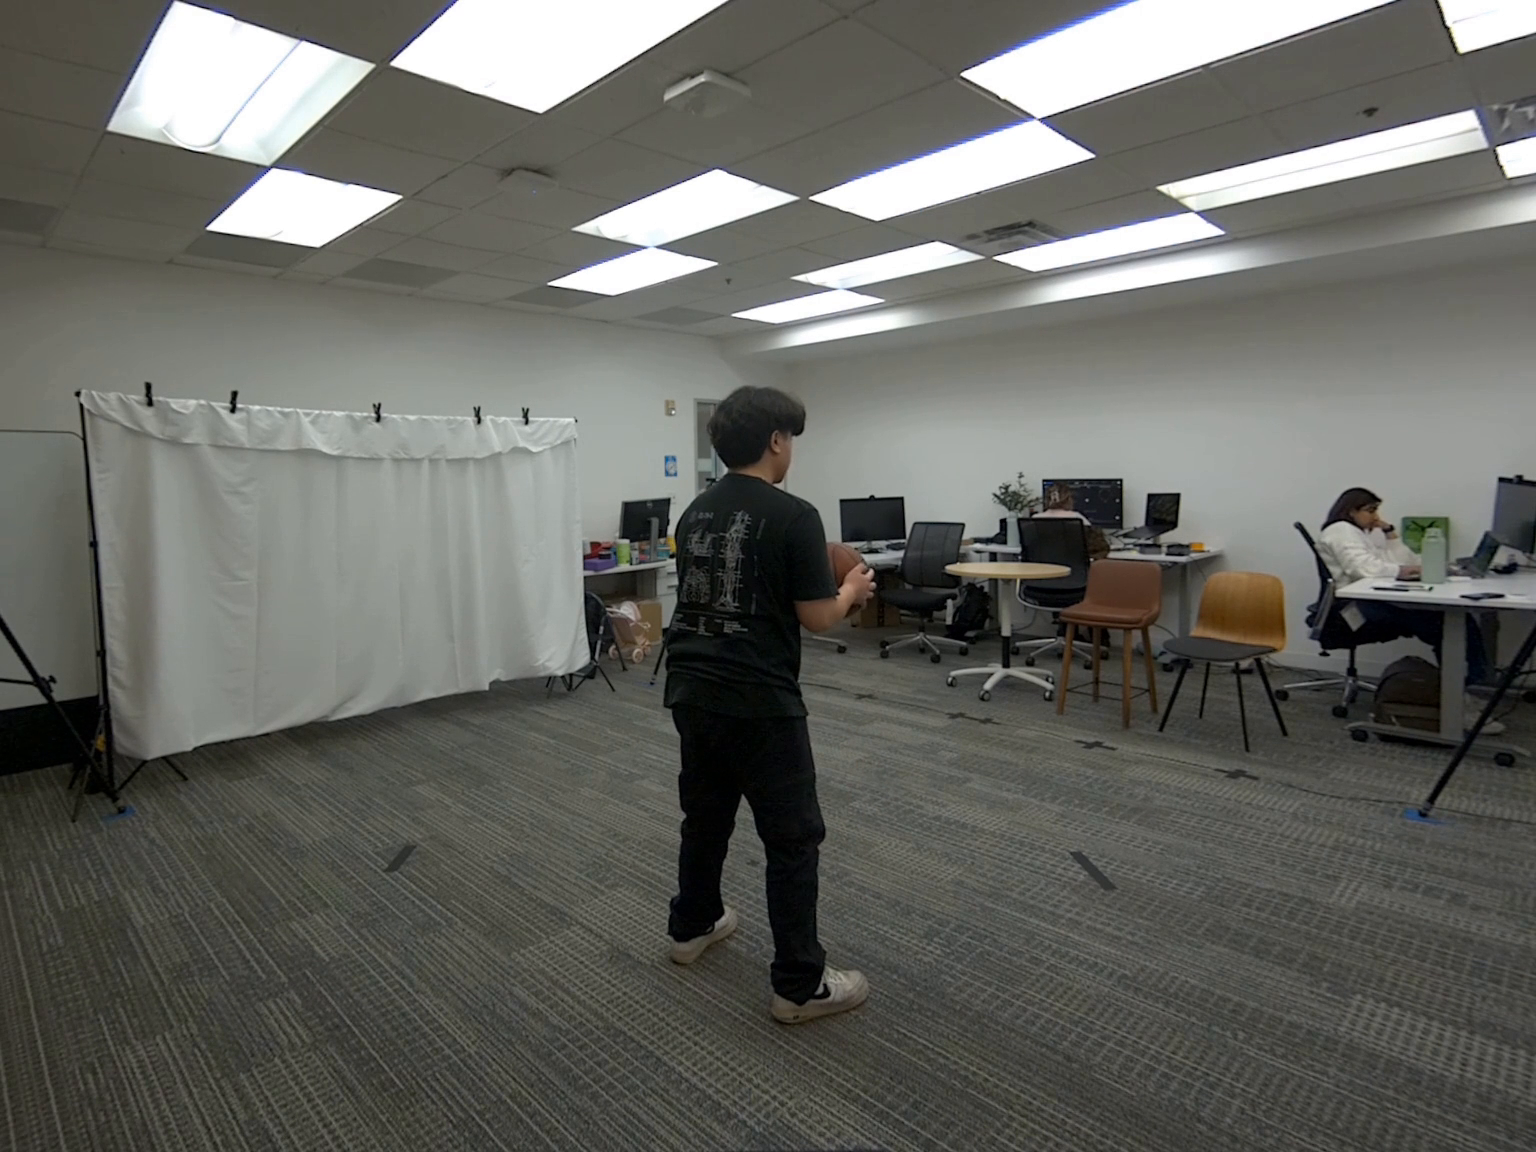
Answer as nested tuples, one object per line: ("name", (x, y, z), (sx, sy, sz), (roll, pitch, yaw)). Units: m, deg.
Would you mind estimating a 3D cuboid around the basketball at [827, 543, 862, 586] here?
("basketball", (0.205, 0.017, 2.575), (0.236, 0.235, 0.237), (-1, 5, -2))
